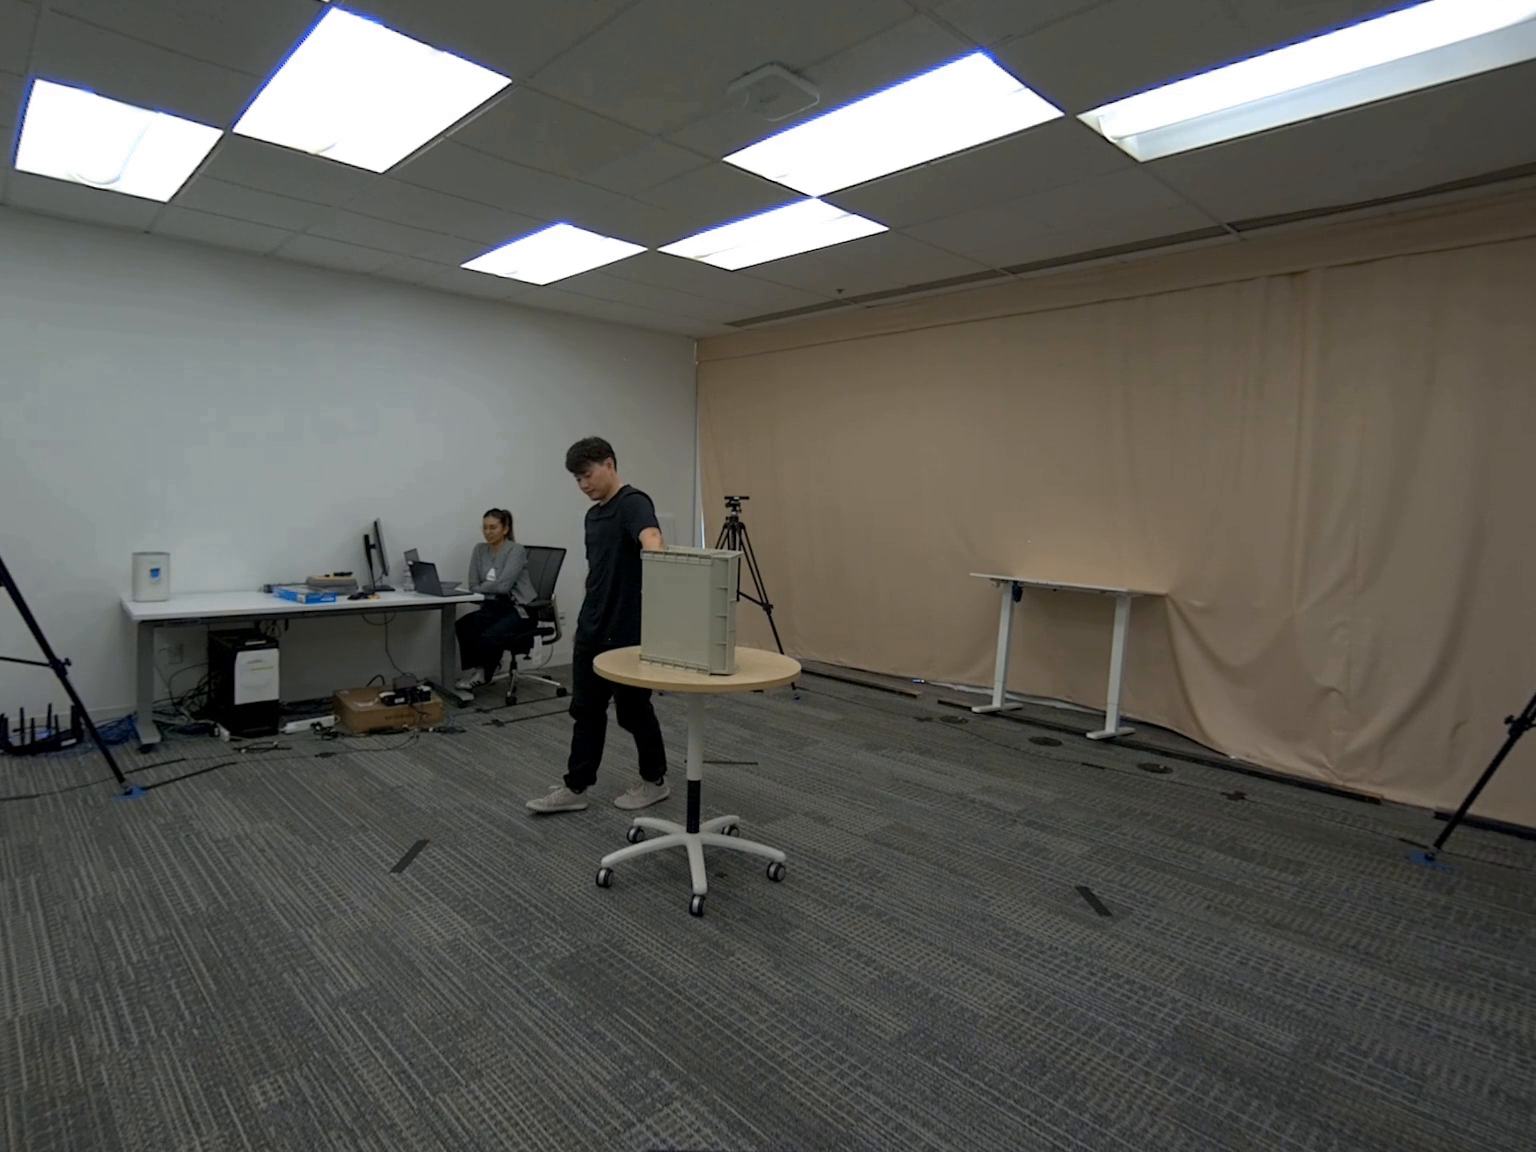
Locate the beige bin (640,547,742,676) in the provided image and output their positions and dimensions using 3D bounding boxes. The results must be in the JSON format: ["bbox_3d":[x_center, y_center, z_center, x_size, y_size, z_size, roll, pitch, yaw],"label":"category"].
[{"bbox_3d":[-0.276,0.117,3.008,0.386,0.421,0.185,5,6,32],"label":"beige bin"}]
